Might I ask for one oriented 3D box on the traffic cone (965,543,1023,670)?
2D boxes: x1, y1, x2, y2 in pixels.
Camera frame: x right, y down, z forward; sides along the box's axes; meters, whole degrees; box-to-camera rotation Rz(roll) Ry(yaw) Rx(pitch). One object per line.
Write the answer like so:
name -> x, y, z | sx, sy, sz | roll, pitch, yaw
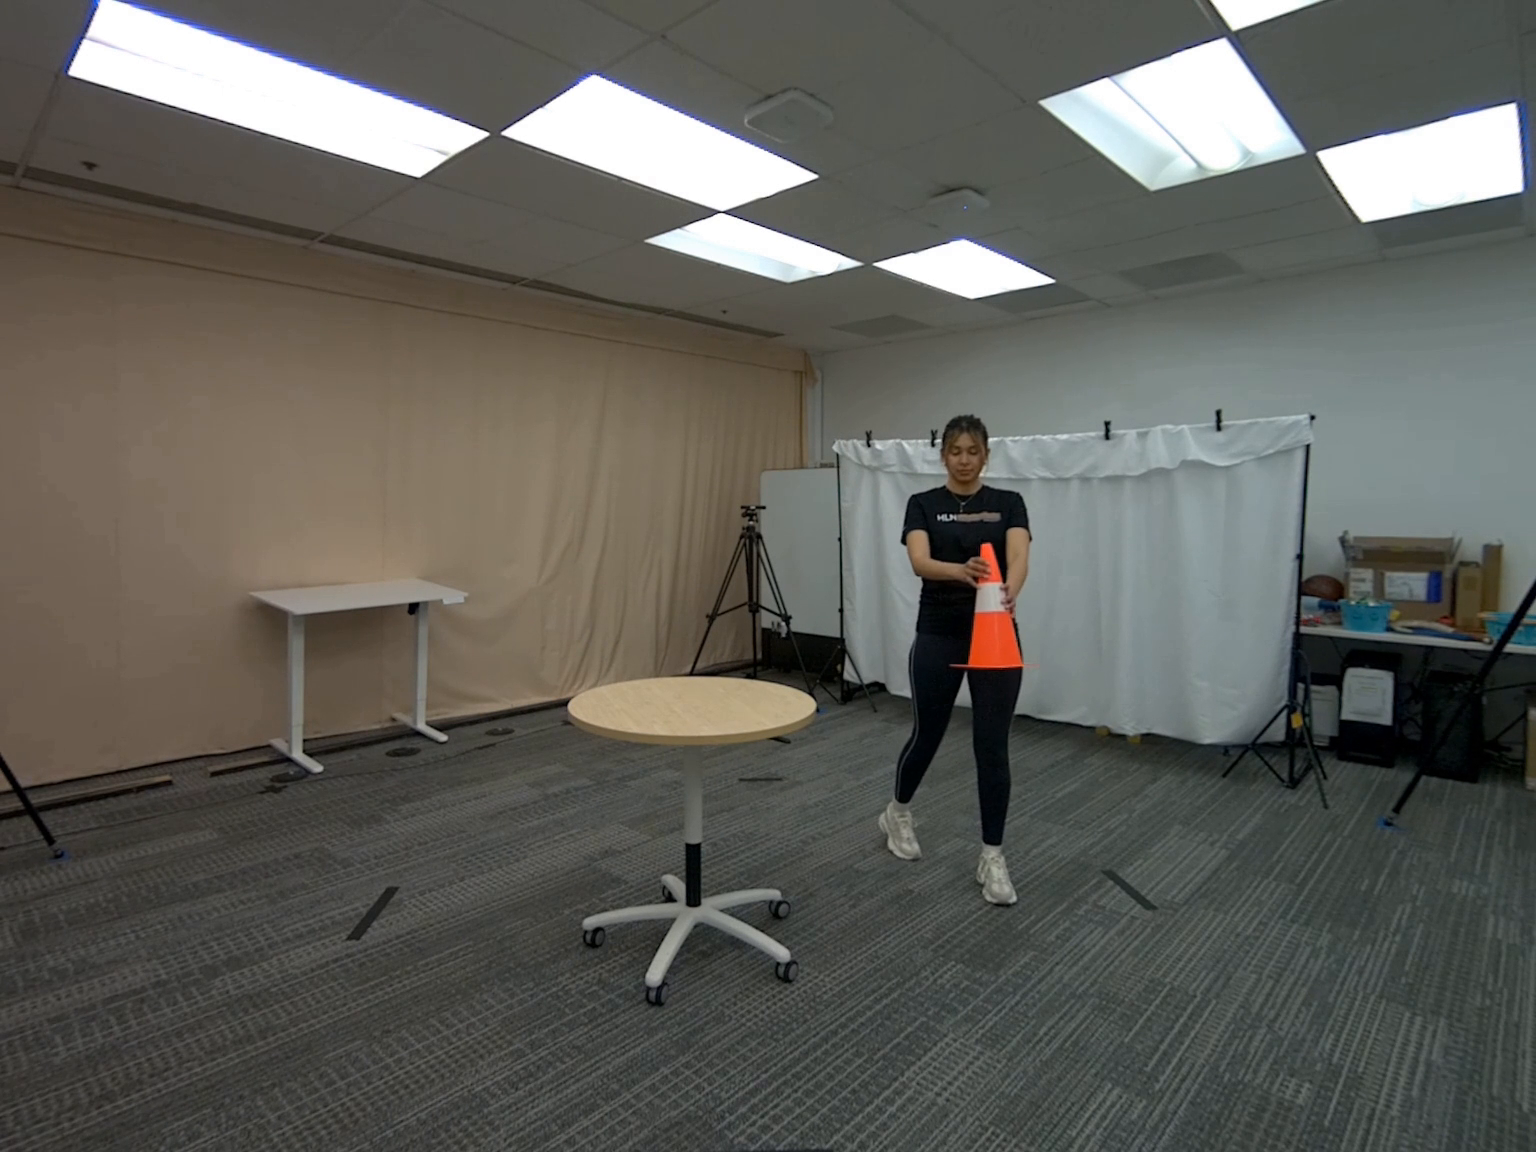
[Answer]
traffic cone -> 0.708, 0.095, 2.631 | 0.209, 0.385, 0.198 | -3, -6, 39
